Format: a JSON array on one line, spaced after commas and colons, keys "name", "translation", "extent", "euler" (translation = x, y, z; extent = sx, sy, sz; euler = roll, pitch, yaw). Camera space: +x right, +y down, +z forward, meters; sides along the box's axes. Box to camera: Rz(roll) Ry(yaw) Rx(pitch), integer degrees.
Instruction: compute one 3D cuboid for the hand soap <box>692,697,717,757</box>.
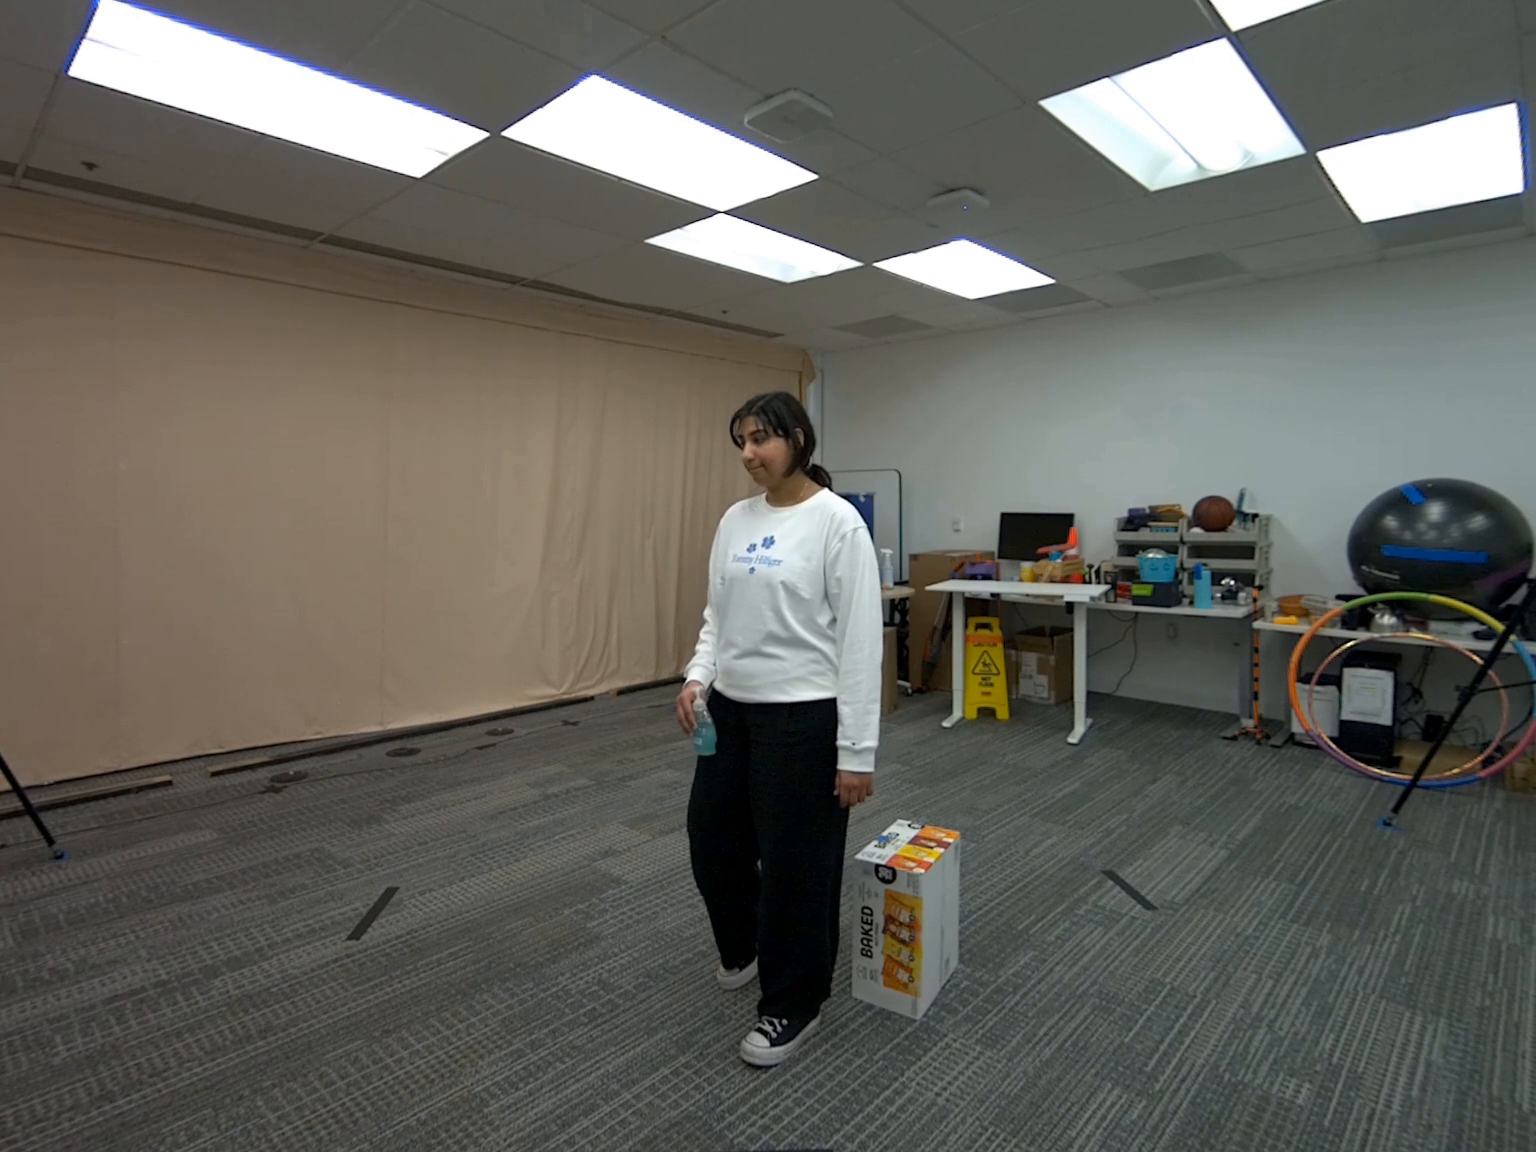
[{"name": "hand soap", "translation": [-0.160, 0.363, 2.127], "extent": [0.042, 0.168, 0.087], "euler": [-5, 3, -35]}]
